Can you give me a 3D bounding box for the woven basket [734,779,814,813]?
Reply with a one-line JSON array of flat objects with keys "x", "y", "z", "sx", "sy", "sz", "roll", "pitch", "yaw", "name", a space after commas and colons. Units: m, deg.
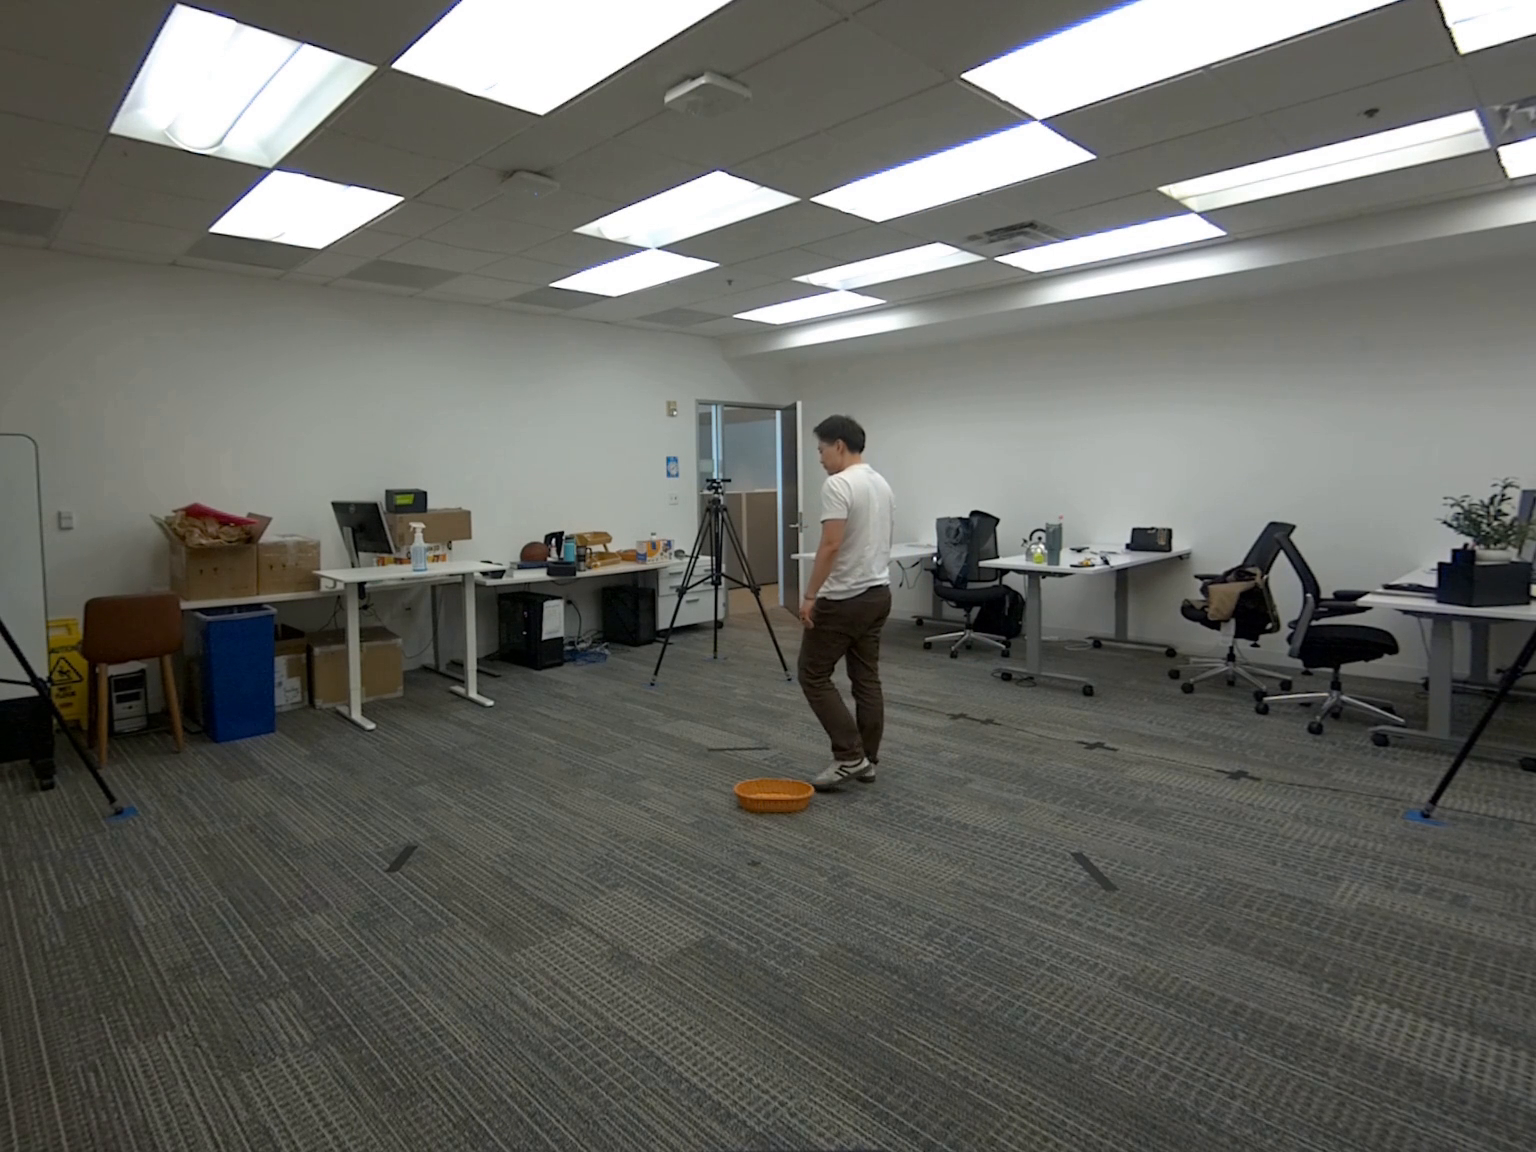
[{"x": 0.023, "y": 0.943, "z": 3.660, "sx": 0.352, "sy": 0.073, "sz": 0.252, "roll": 0, "pitch": 6, "yaw": 5, "name": "woven basket"}]
